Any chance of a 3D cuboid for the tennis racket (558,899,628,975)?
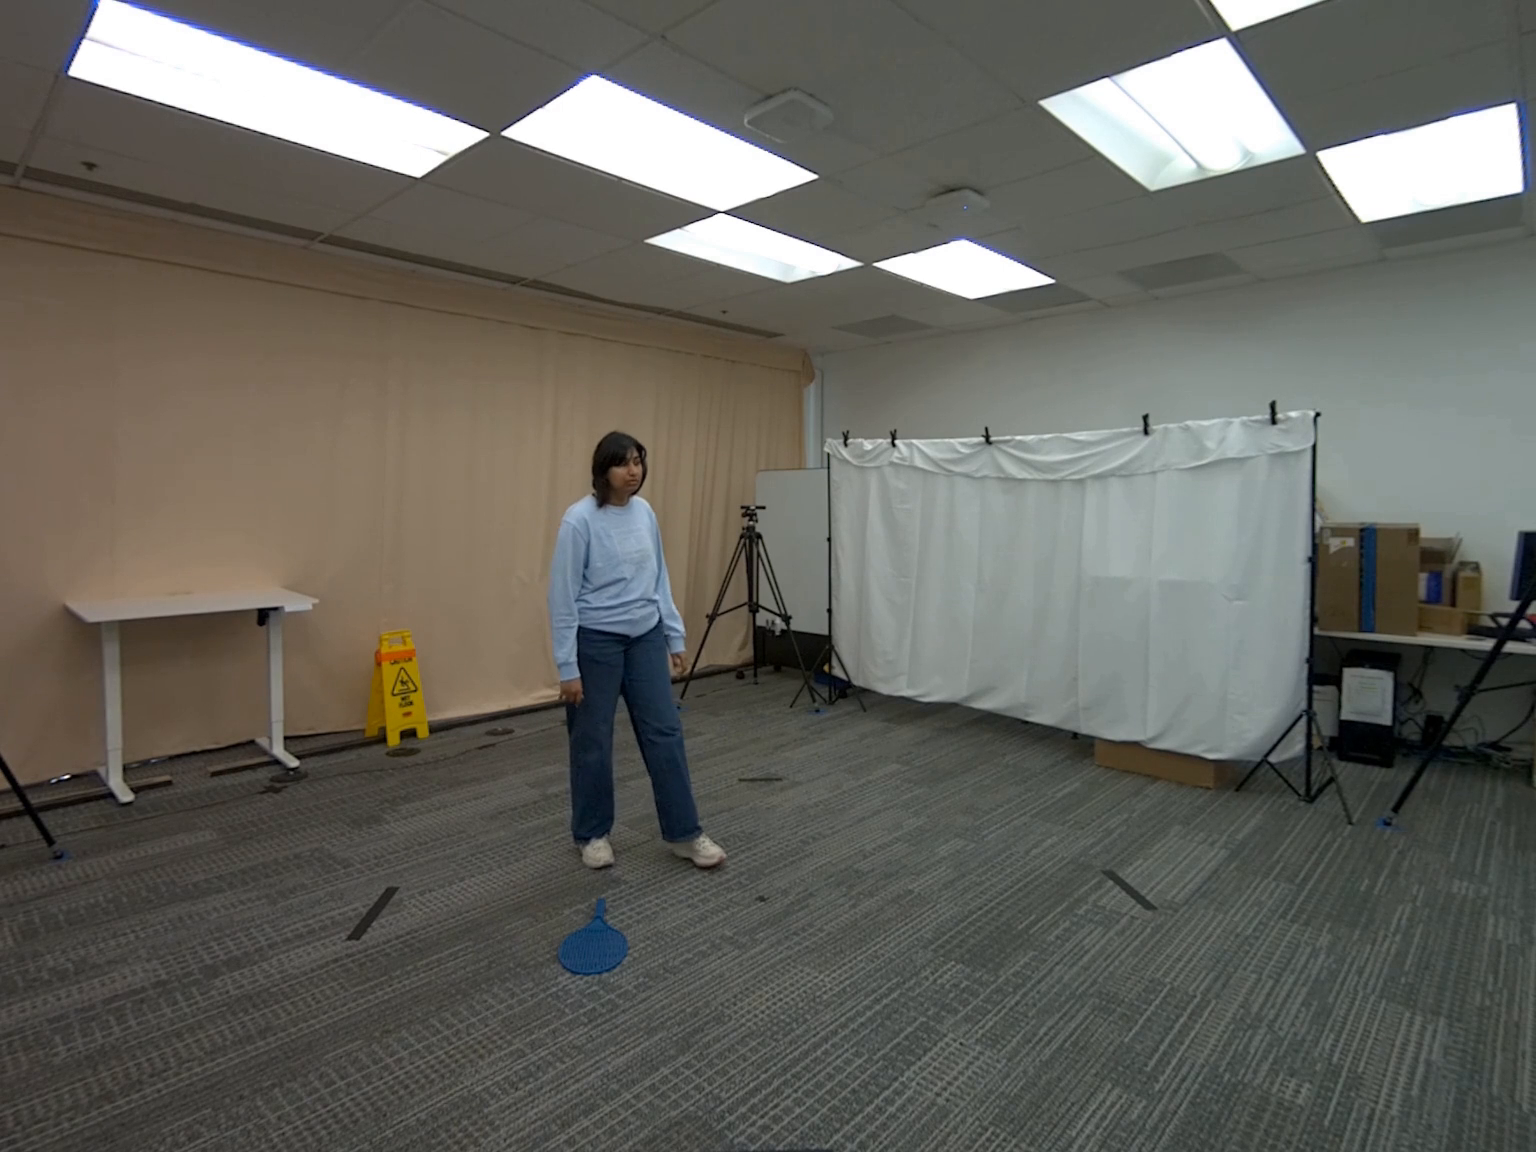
[{"bbox_3d":[-0.554,1.154,2.716,0.212,0.031,0.437,-1,6,-8],"label":"tennis racket"}]
